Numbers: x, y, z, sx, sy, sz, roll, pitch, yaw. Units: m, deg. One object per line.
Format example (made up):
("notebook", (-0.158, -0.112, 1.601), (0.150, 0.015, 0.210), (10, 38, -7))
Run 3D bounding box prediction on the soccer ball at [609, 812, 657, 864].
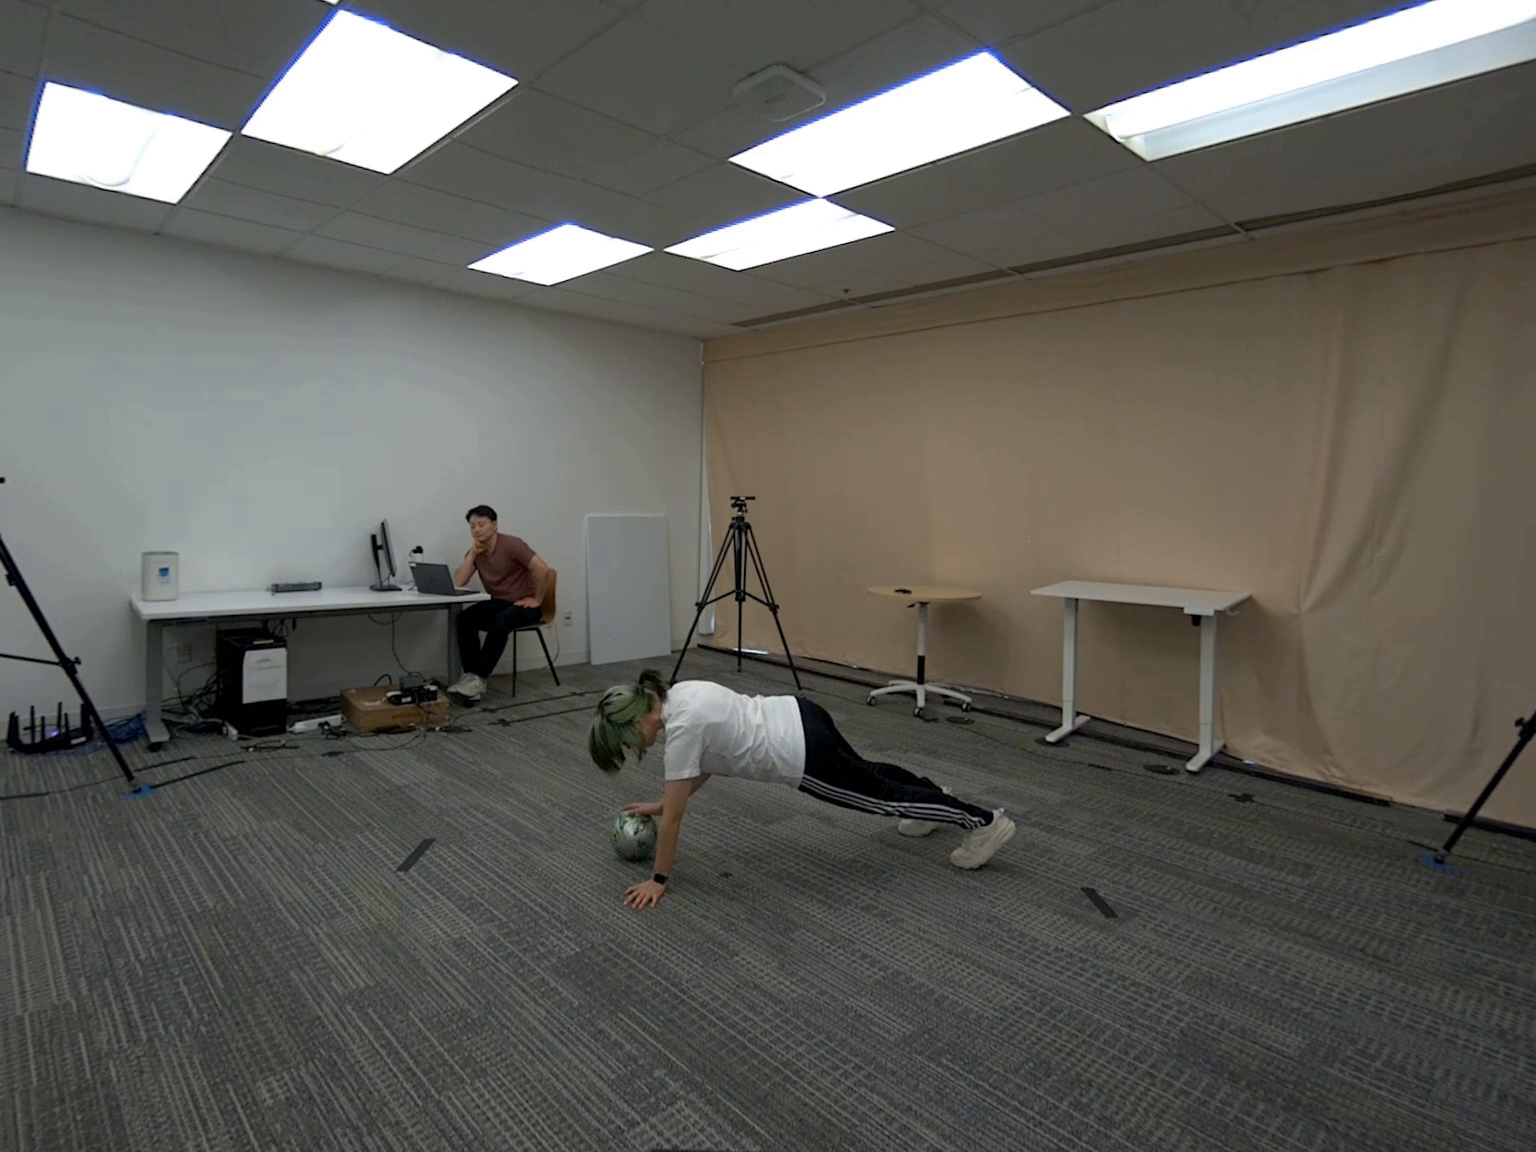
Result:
("soccer ball", (-0.515, 0.987, 3.230), (0.187, 0.187, 0.188), (1, 4, -1))
